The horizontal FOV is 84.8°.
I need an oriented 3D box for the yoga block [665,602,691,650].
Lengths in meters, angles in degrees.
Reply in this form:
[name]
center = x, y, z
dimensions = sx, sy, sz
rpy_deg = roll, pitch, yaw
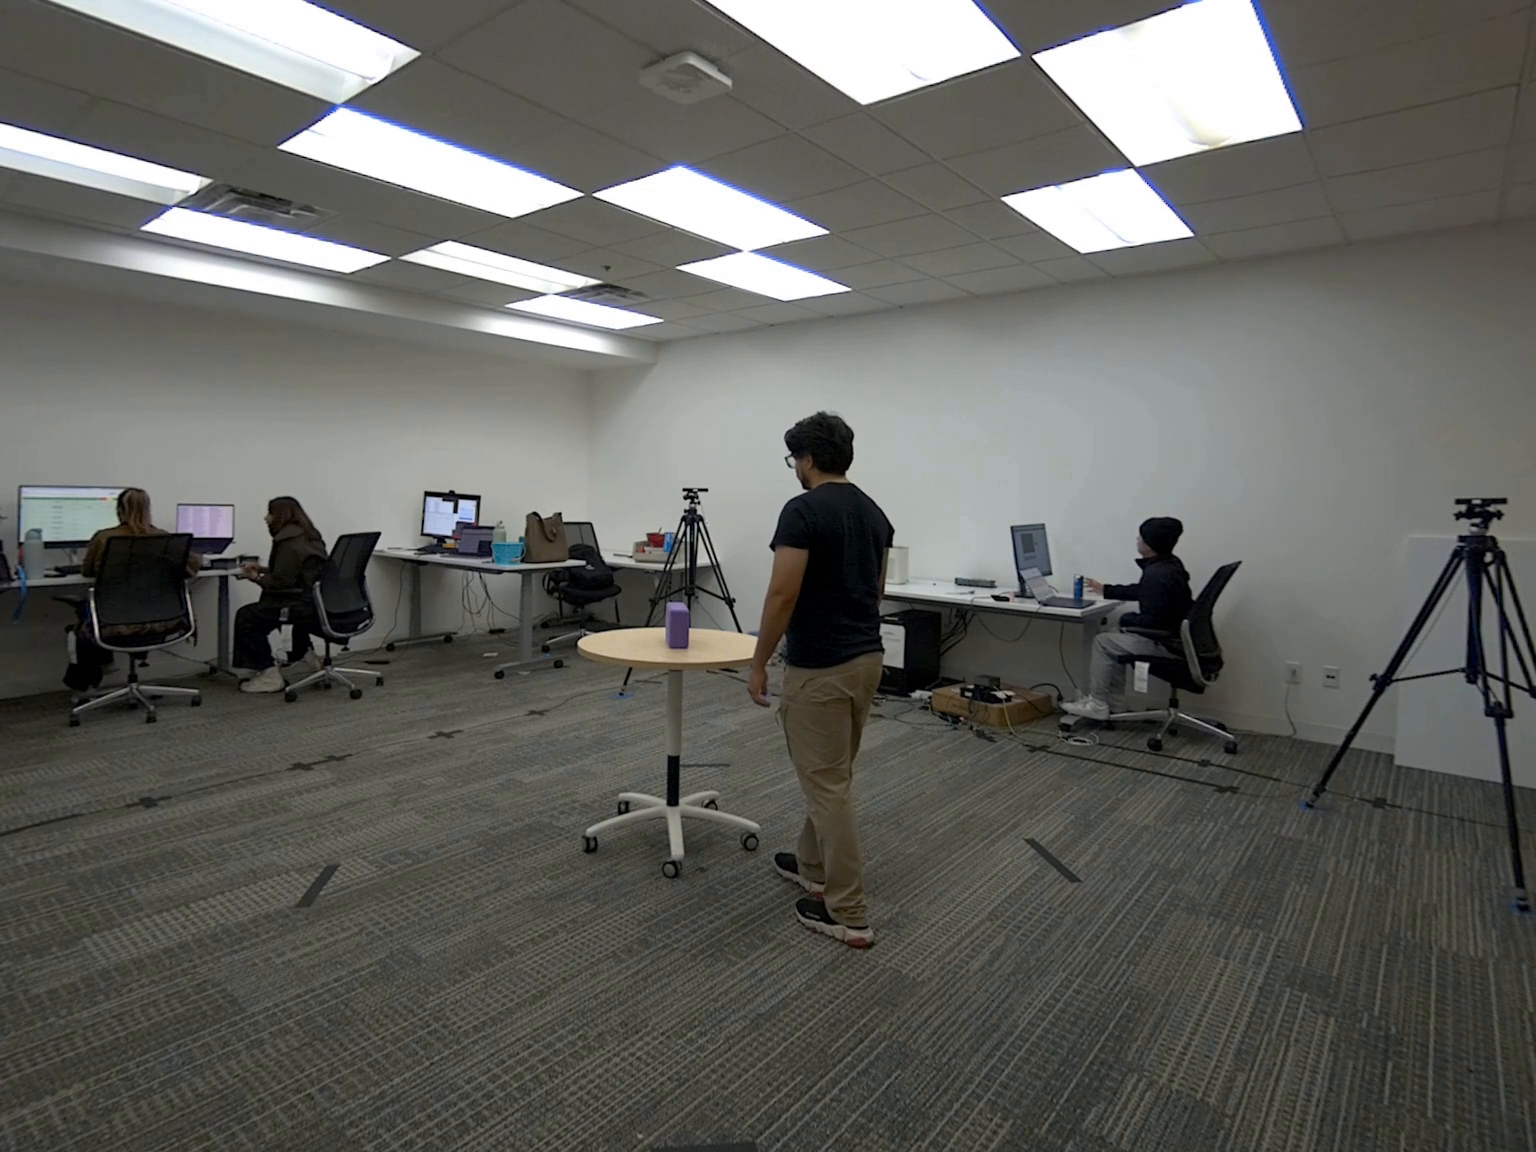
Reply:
[yoga block]
center = -0.367, 0.186, 3.333
dimensions = 0.076, 0.148, 0.232
rpy_deg = -1, 5, -9
